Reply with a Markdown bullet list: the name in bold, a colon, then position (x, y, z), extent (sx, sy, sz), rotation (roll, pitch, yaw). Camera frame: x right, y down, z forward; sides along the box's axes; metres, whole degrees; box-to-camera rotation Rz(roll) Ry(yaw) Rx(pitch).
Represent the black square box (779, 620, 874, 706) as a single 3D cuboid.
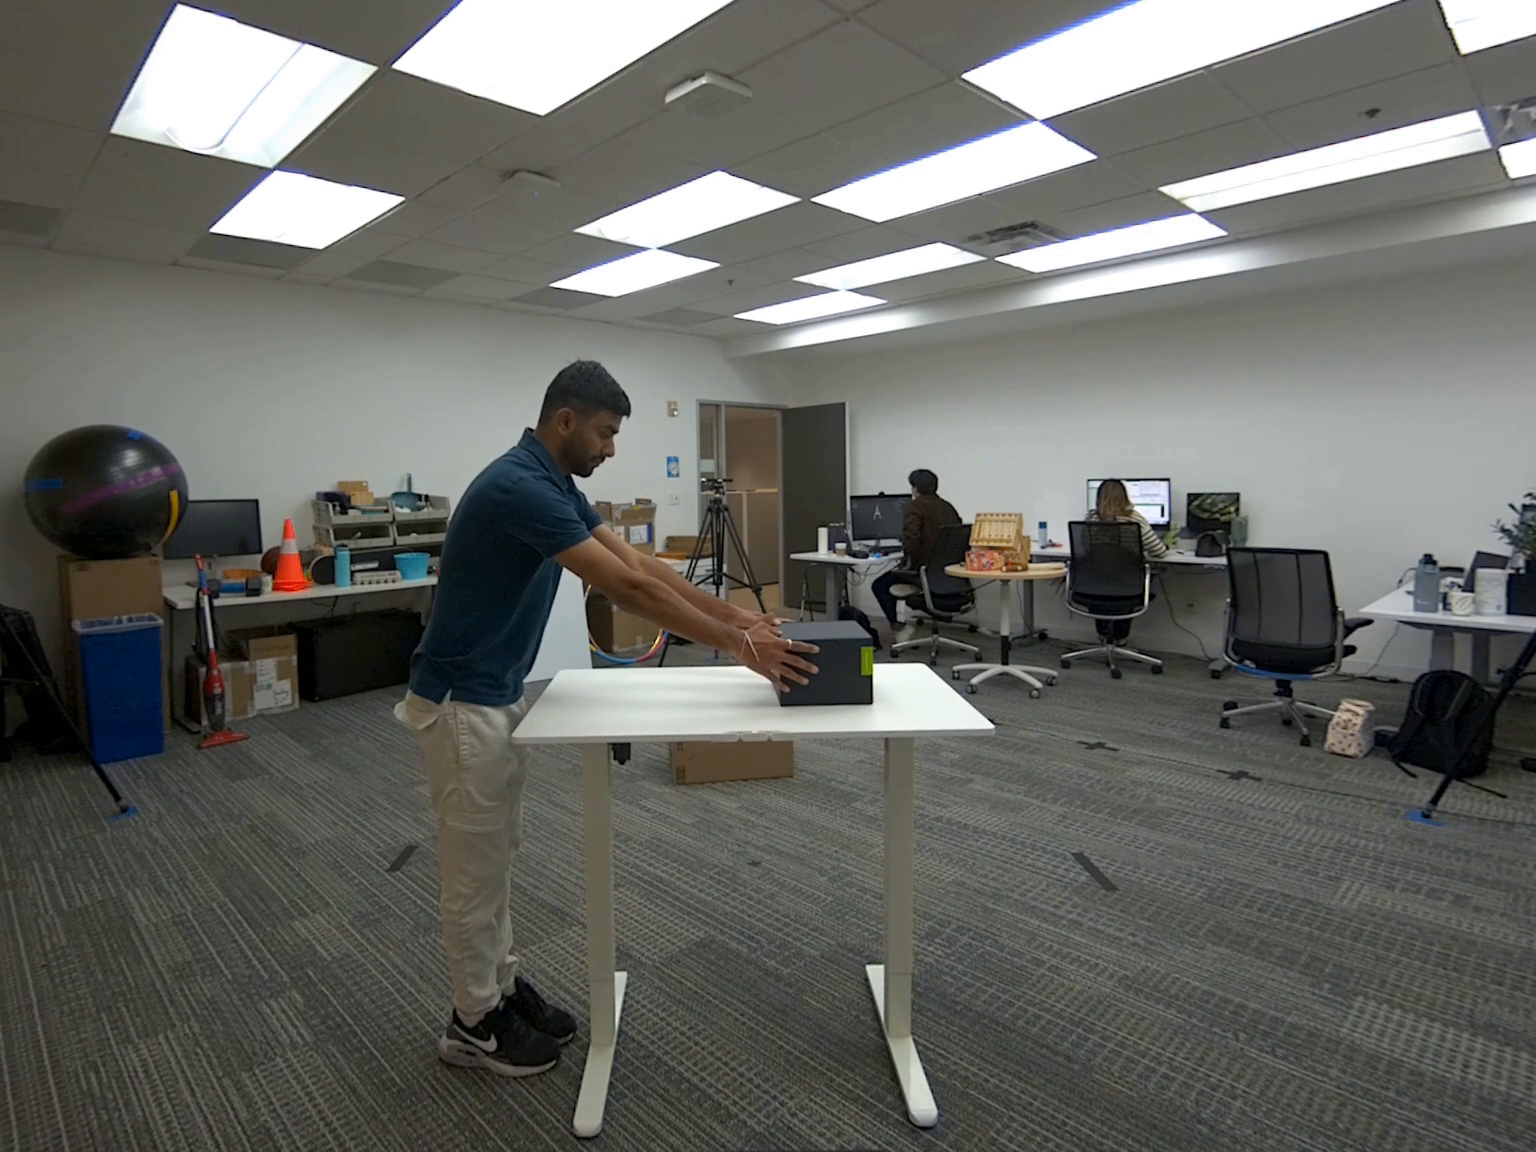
- **black square box**: position (0.123, 0.205, 2.054), extent (0.217, 0.155, 0.229), rotation (-1, 6, -2)
